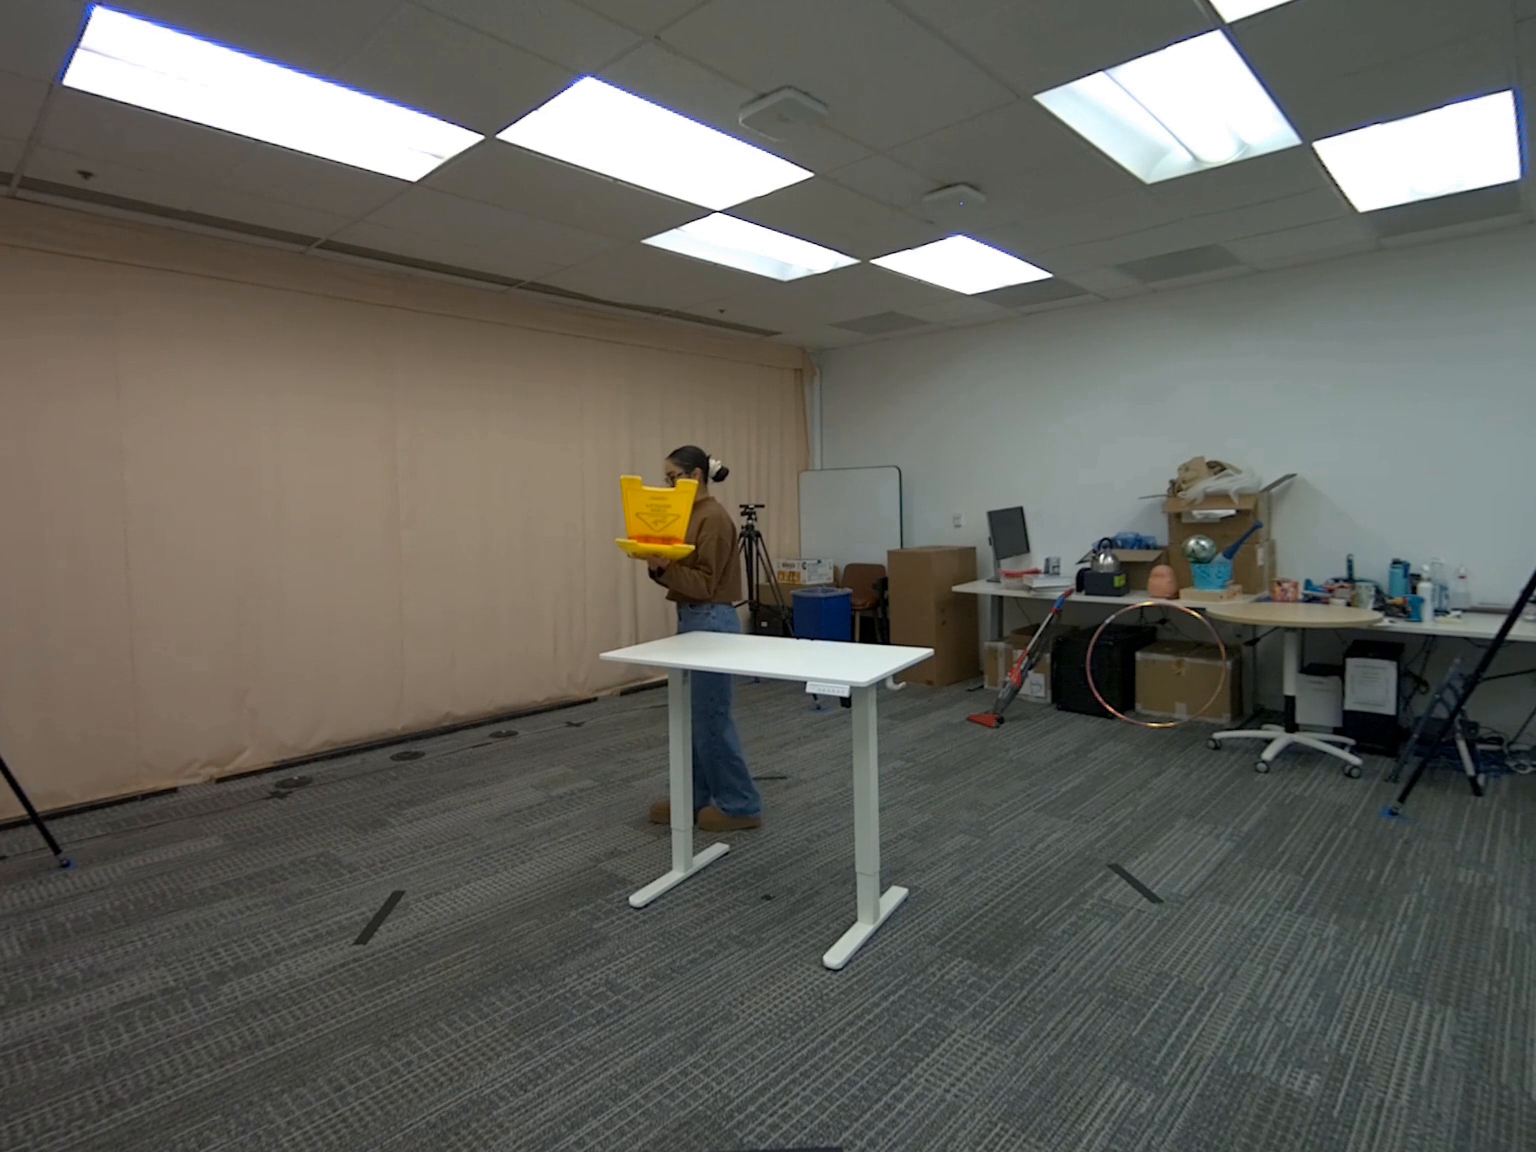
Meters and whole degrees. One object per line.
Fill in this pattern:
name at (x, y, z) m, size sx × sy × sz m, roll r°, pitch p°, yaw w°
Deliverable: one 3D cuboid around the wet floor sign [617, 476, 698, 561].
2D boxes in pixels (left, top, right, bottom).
wet floor sign at (-0.463, -0.149, 3.280) m, size 0.280 × 0.292 × 0.645 m, roll 3°, pitch -13°, yaw -8°
